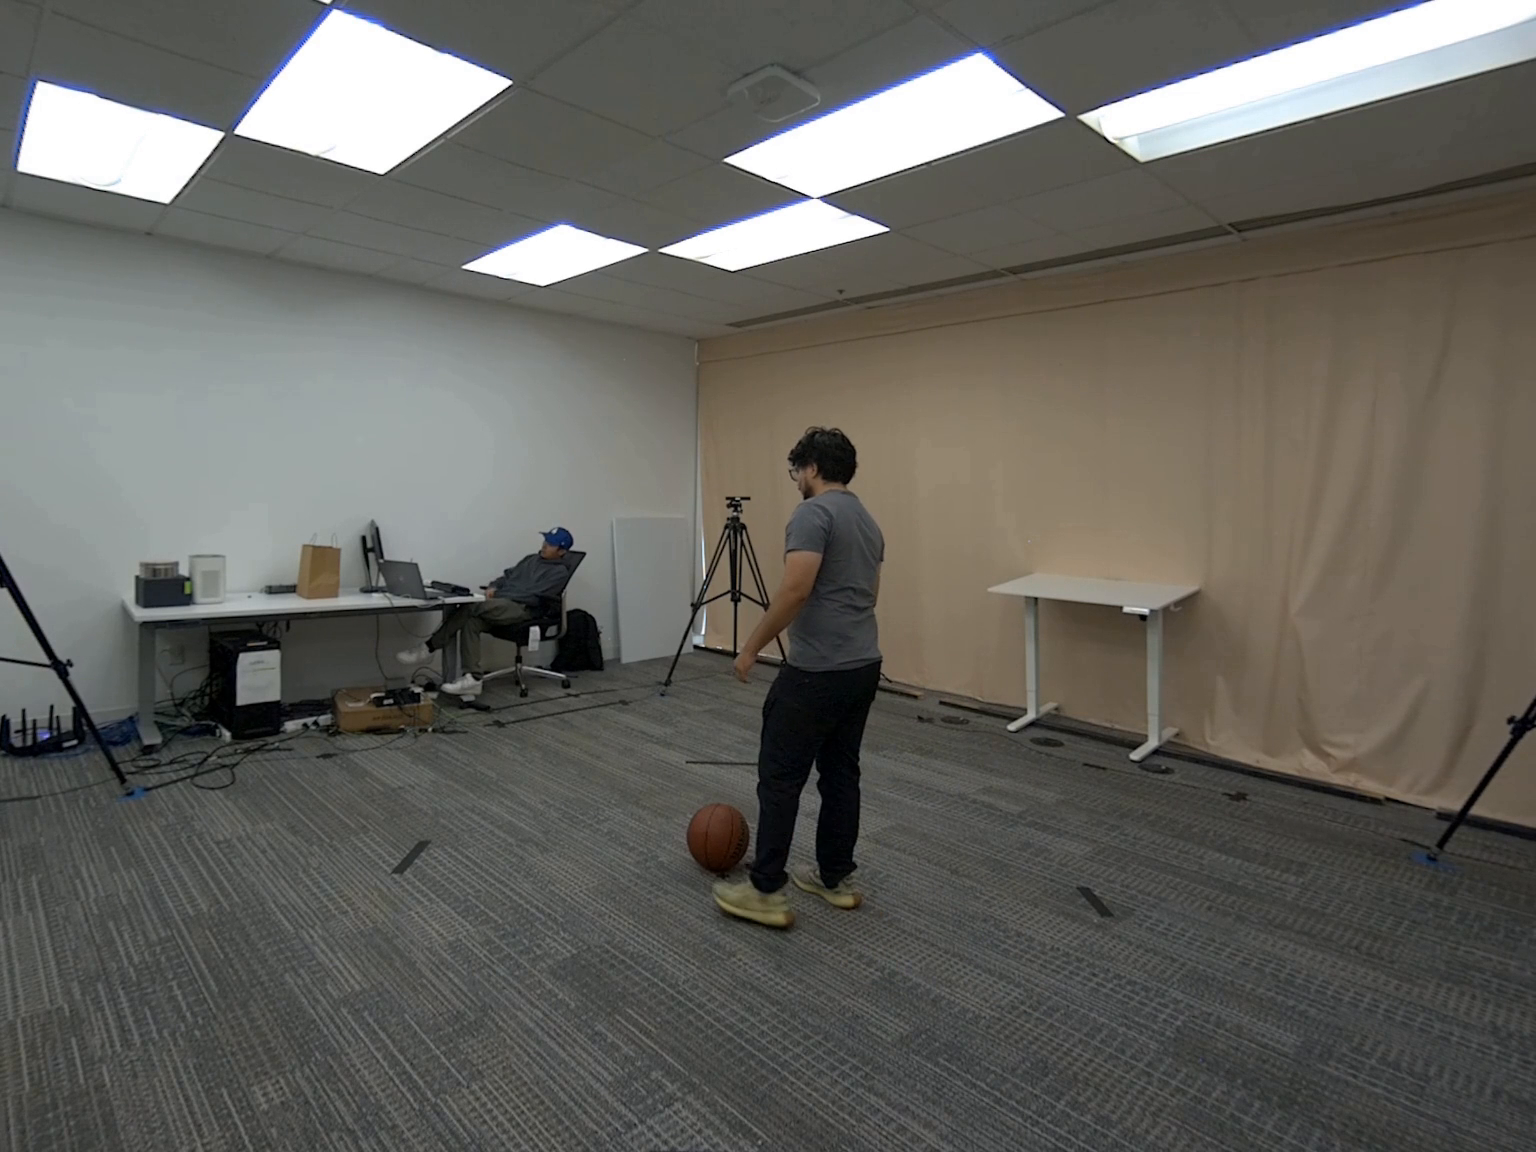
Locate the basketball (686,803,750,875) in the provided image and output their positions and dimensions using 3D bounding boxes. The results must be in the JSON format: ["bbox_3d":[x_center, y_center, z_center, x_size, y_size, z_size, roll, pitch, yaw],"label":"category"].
[{"bbox_3d":[-0.192,0.978,3.165,0.236,0.235,0.237,1,4,-1],"label":"basketball"}]
